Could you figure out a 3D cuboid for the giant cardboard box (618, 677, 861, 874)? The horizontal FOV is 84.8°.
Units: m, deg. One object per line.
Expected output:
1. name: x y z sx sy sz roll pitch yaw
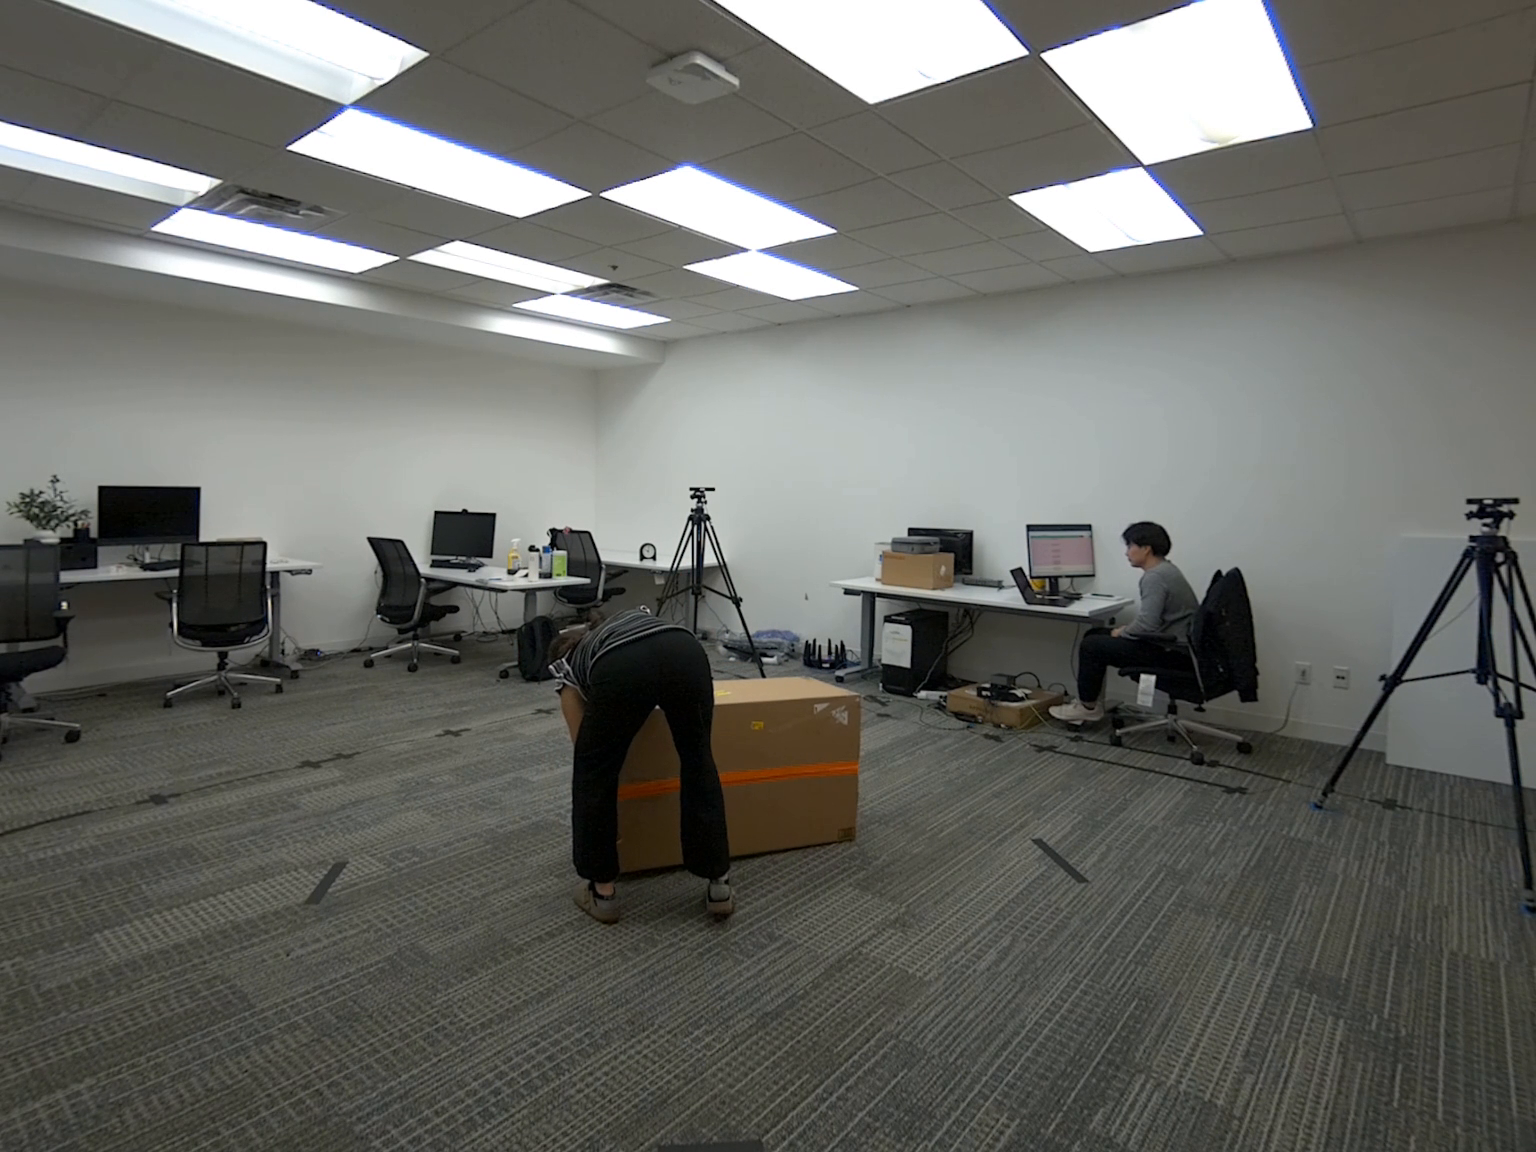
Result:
1. giant cardboard box: -0.192 0.736 3.365 1.000 0.577 0.438 0 2 -26
